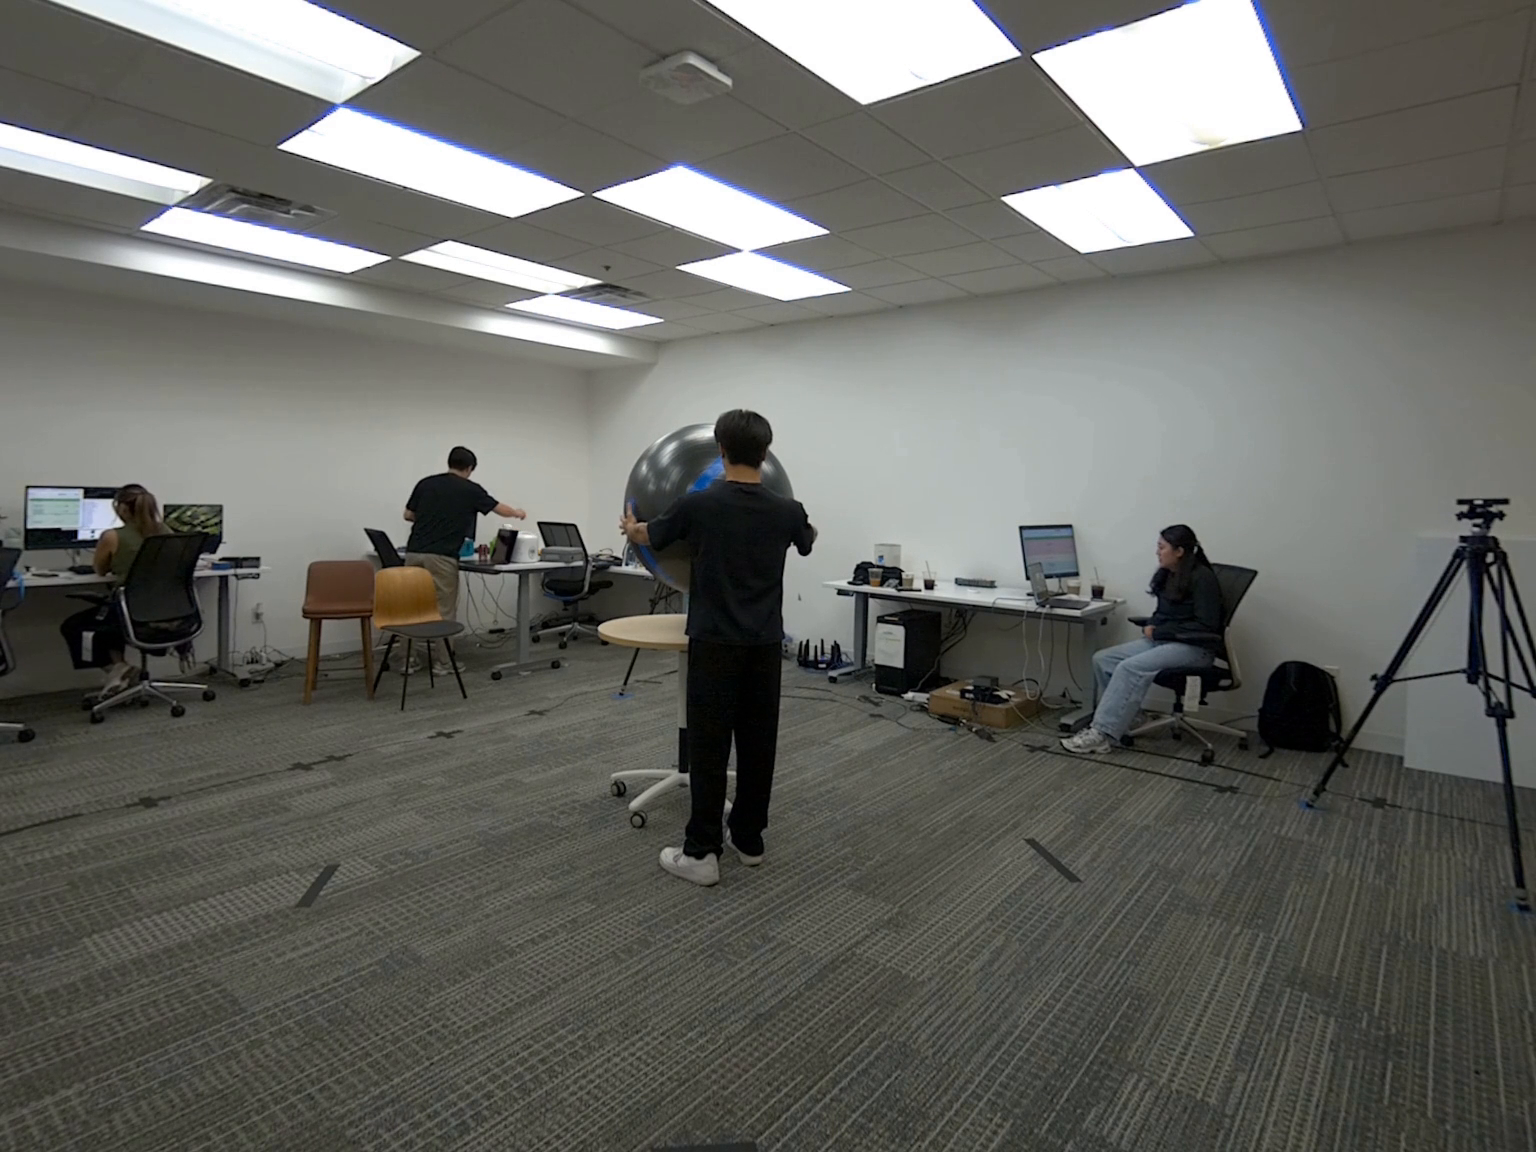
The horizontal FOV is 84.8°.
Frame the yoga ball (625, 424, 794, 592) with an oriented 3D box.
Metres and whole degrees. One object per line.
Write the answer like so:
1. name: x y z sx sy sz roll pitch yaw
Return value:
1. yoga ball: -0.271 -0.290 3.765 0.757 0.755 0.762 1 4 -2
